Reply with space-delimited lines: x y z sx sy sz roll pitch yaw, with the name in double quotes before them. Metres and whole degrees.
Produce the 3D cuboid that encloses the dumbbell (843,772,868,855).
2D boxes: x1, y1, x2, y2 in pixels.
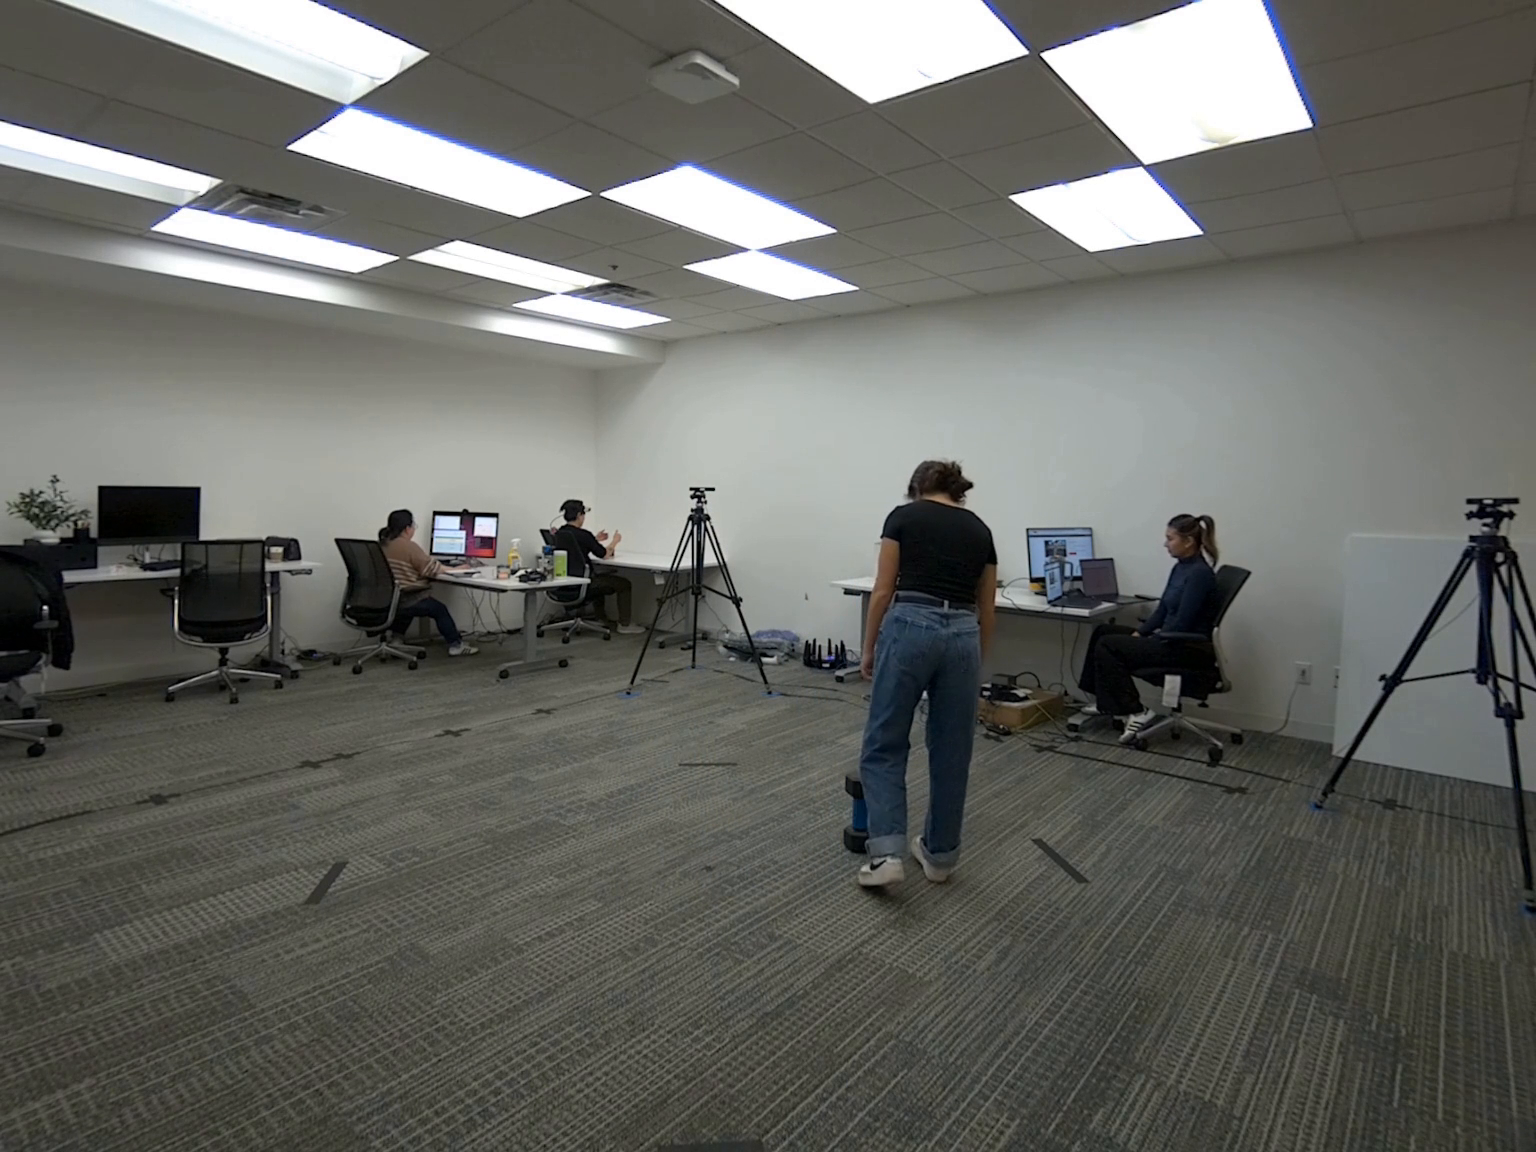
"dumbbell" 0.351 0.913 3.310 0.106 0.292 0.126 -1 4 -21
